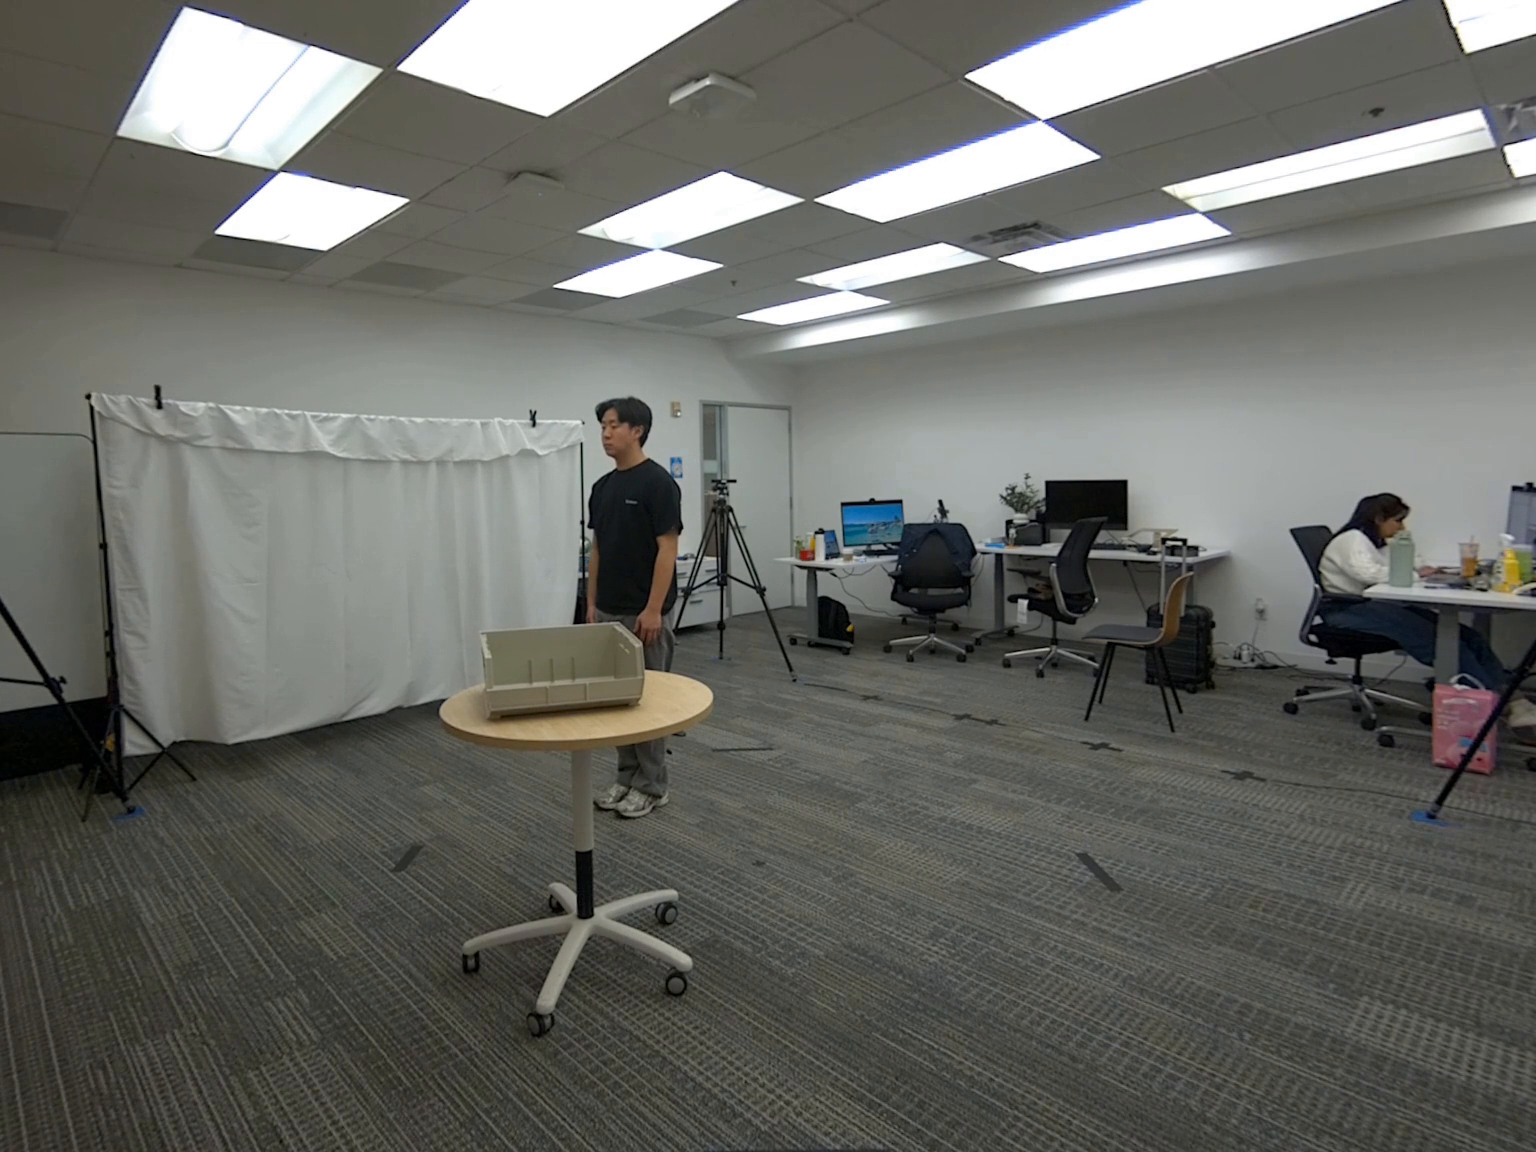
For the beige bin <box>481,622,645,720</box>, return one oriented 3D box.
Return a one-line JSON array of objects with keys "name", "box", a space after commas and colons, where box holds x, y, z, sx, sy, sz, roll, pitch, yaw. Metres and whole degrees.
[{"name": "beige bin", "box": [-0.595, 0.267, 2.423, 0.415, 0.188, 0.385, -3, 5, -19]}]
